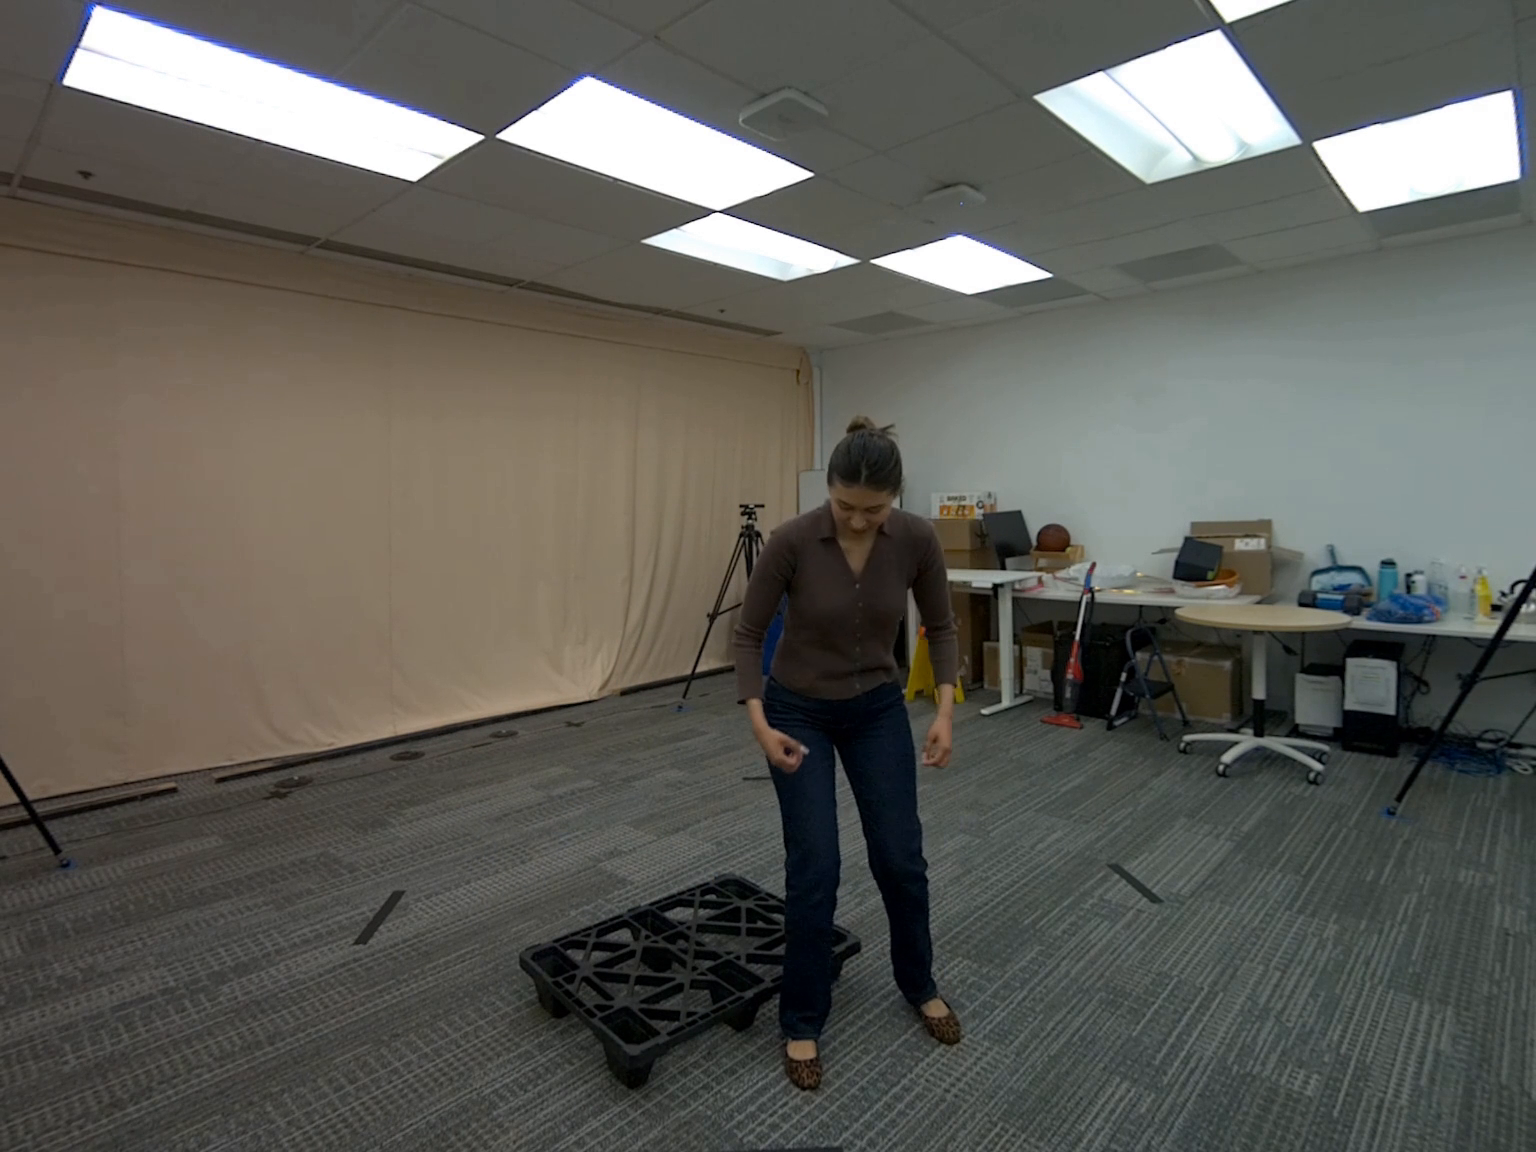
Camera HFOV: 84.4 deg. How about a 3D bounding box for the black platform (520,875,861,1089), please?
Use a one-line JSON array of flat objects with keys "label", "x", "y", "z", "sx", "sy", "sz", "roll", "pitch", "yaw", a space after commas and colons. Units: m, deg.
[{"label": "black platform", "x": -0.220, "y": 1.127, "z": 2.416, "sx": 0.781, "sy": 0.143, "sz": 0.625, "roll": -5, "pitch": 5, "yaw": -40}]
